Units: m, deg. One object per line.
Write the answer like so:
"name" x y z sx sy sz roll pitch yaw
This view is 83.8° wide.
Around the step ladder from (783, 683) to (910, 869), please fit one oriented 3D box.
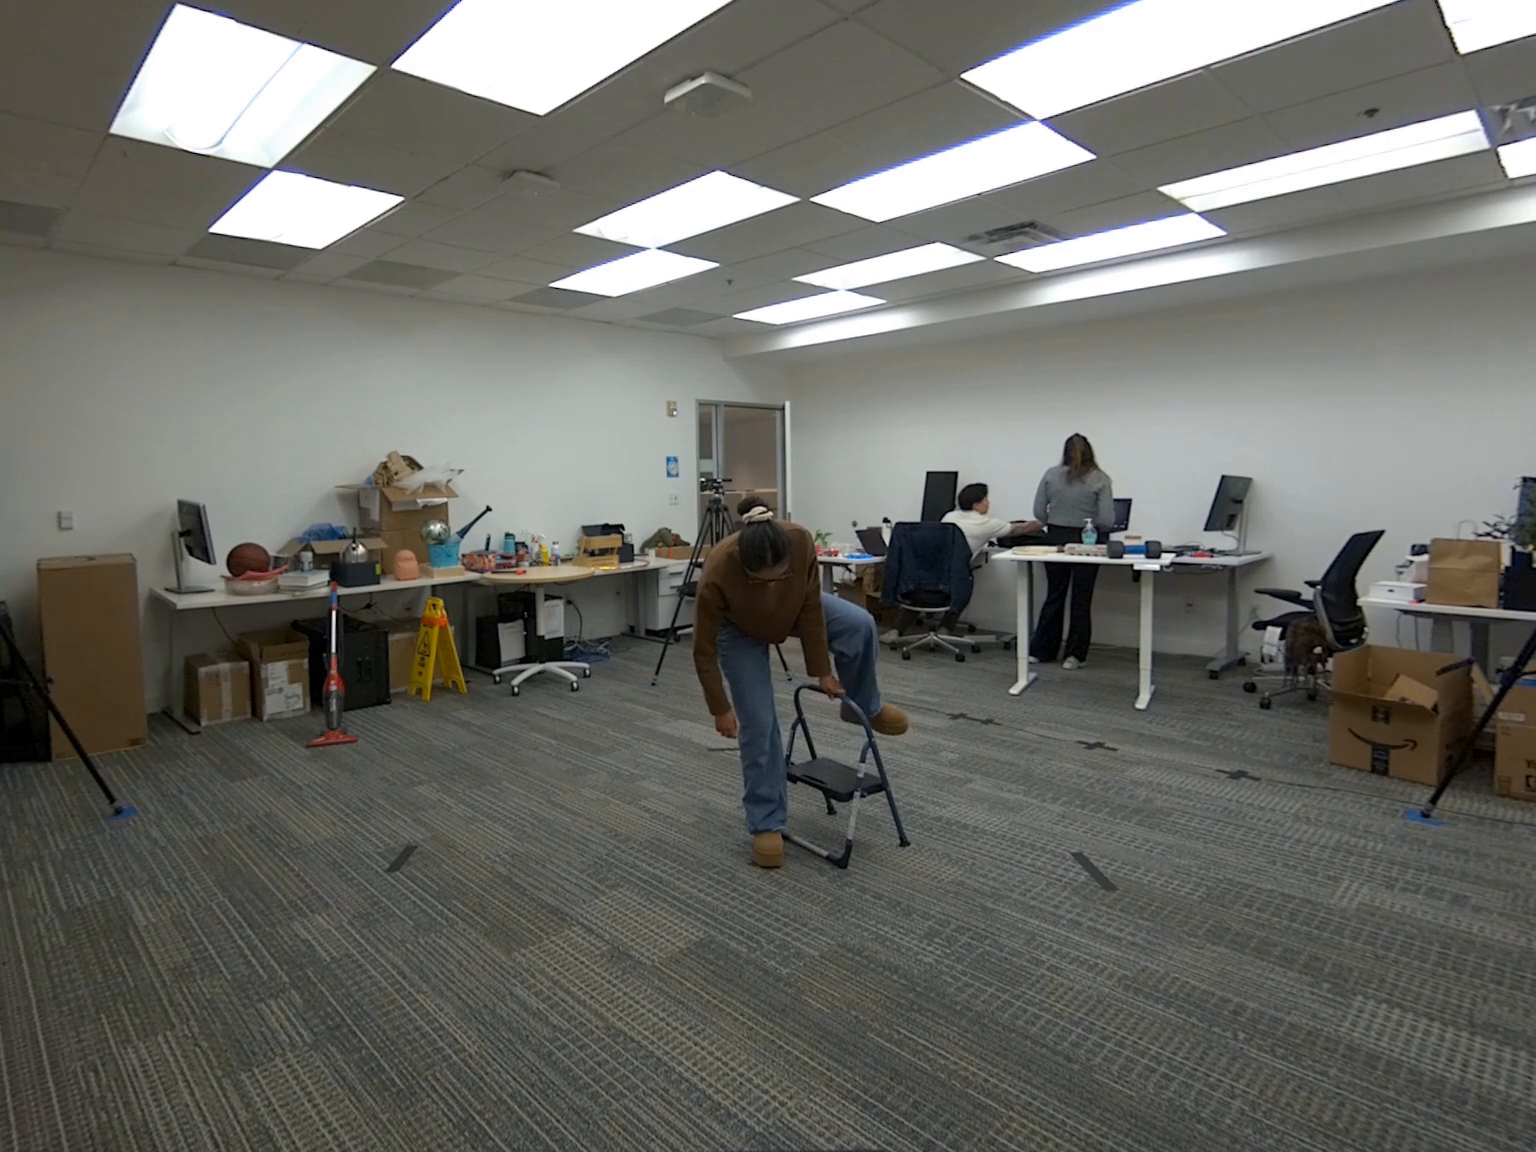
"step ladder" 0.267 0.713 3.289 0.340 0.603 0.444 -5 6 -38
